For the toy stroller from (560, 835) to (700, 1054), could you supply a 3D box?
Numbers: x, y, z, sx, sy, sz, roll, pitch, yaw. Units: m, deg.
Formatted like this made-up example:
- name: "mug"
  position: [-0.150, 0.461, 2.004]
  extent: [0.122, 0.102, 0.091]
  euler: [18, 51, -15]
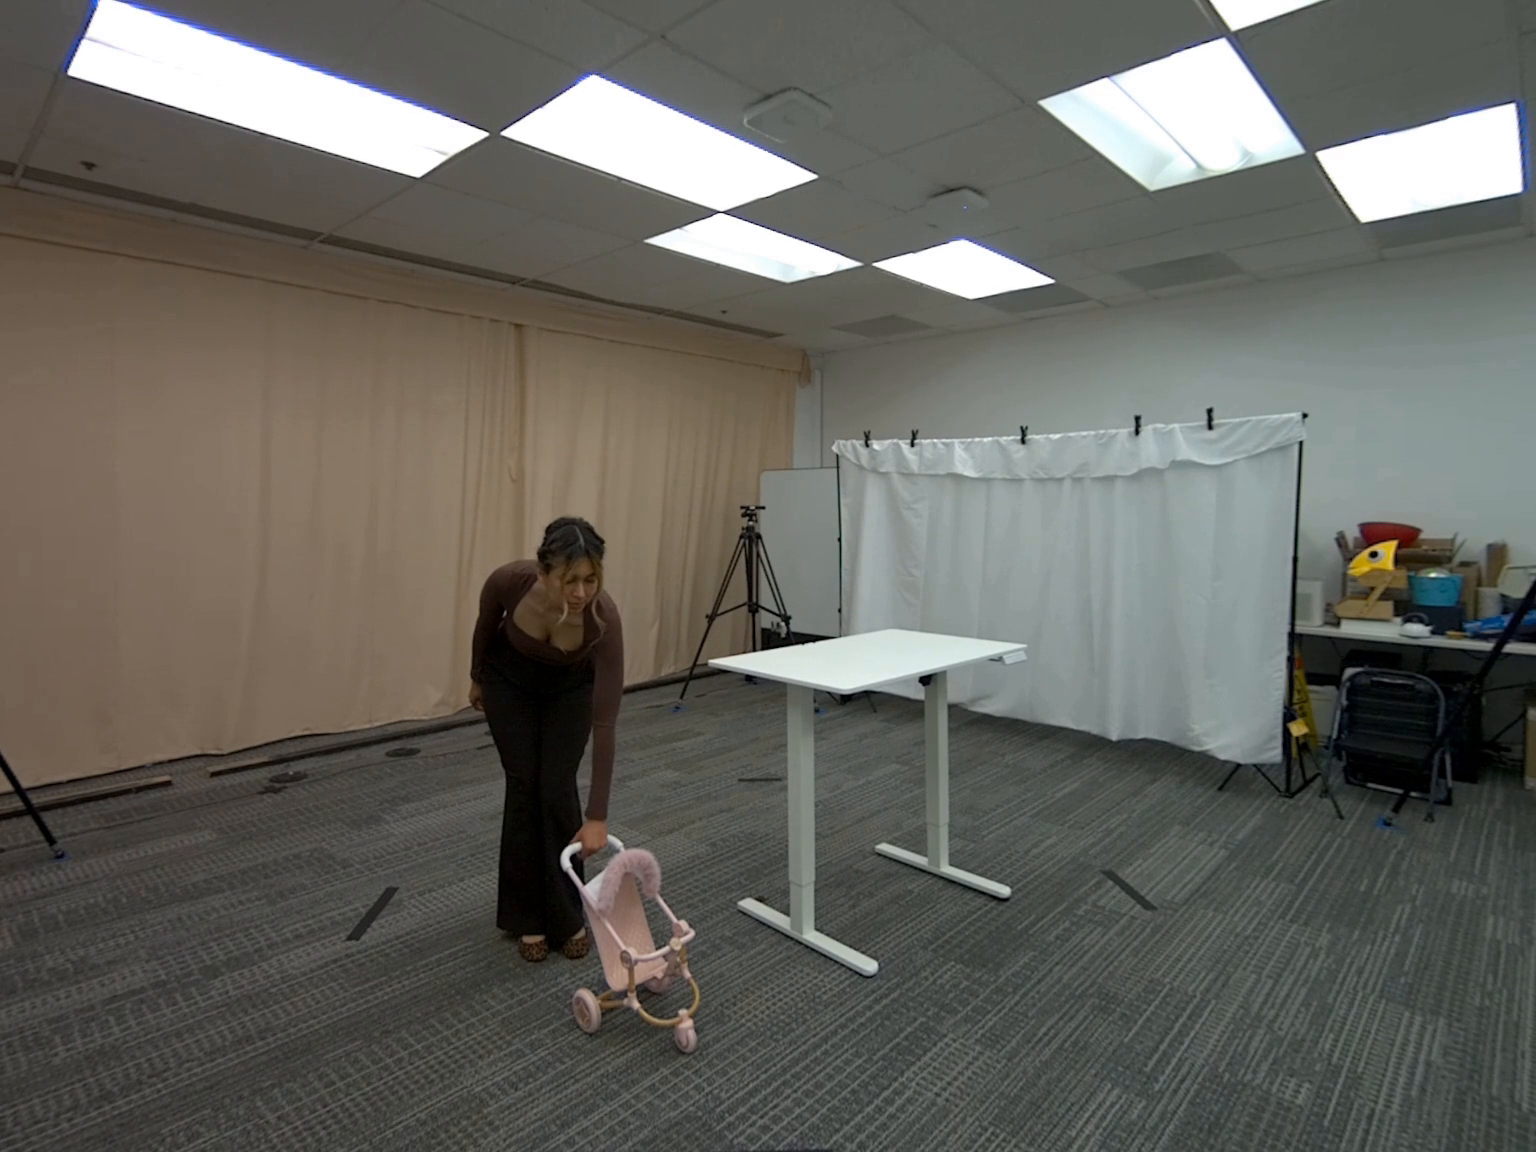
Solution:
- name: "toy stroller"
  position: [-0.353, 0.980, 2.269]
  extent: [0.273, 0.538, 0.350]
  euler: [-4, -11, -44]
